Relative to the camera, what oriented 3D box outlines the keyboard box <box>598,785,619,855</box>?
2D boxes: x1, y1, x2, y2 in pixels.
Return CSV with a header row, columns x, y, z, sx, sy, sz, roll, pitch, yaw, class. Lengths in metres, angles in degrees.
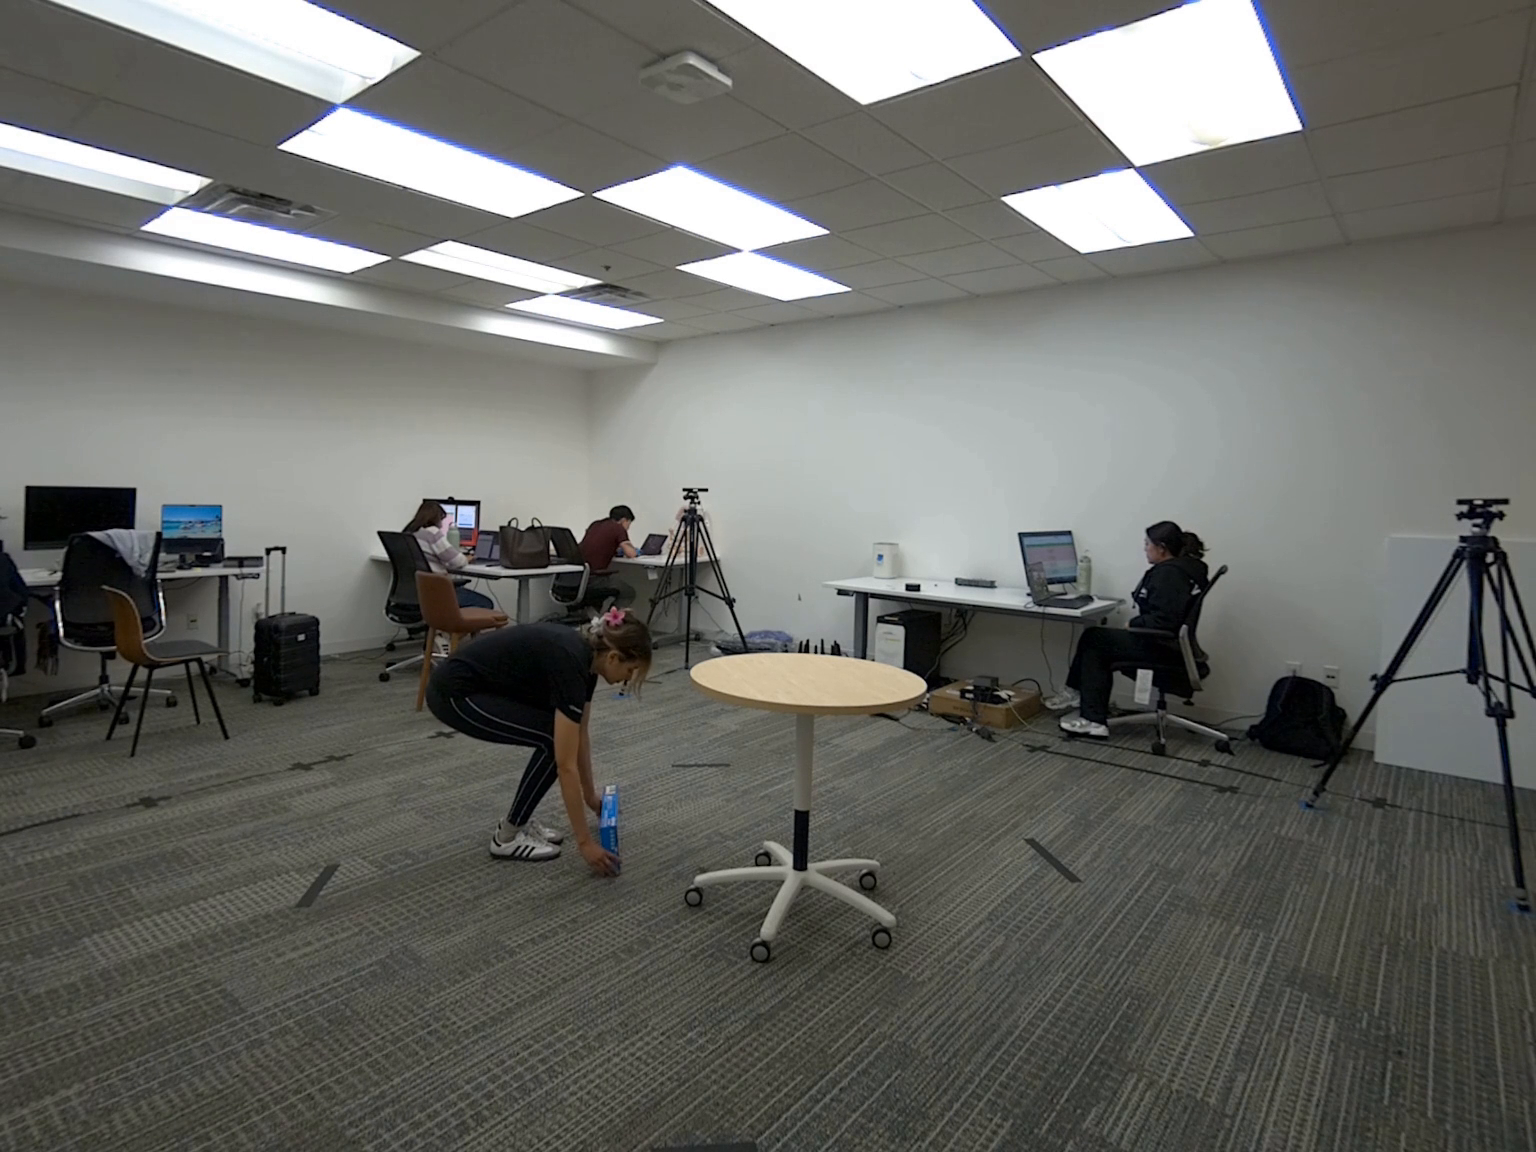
x,y,z,sx,sy,sz,roll,pitch,yaw,class
-0.609,0.961,3.268,0.059,0.175,0.442,-4,6,-9,keyboard box
